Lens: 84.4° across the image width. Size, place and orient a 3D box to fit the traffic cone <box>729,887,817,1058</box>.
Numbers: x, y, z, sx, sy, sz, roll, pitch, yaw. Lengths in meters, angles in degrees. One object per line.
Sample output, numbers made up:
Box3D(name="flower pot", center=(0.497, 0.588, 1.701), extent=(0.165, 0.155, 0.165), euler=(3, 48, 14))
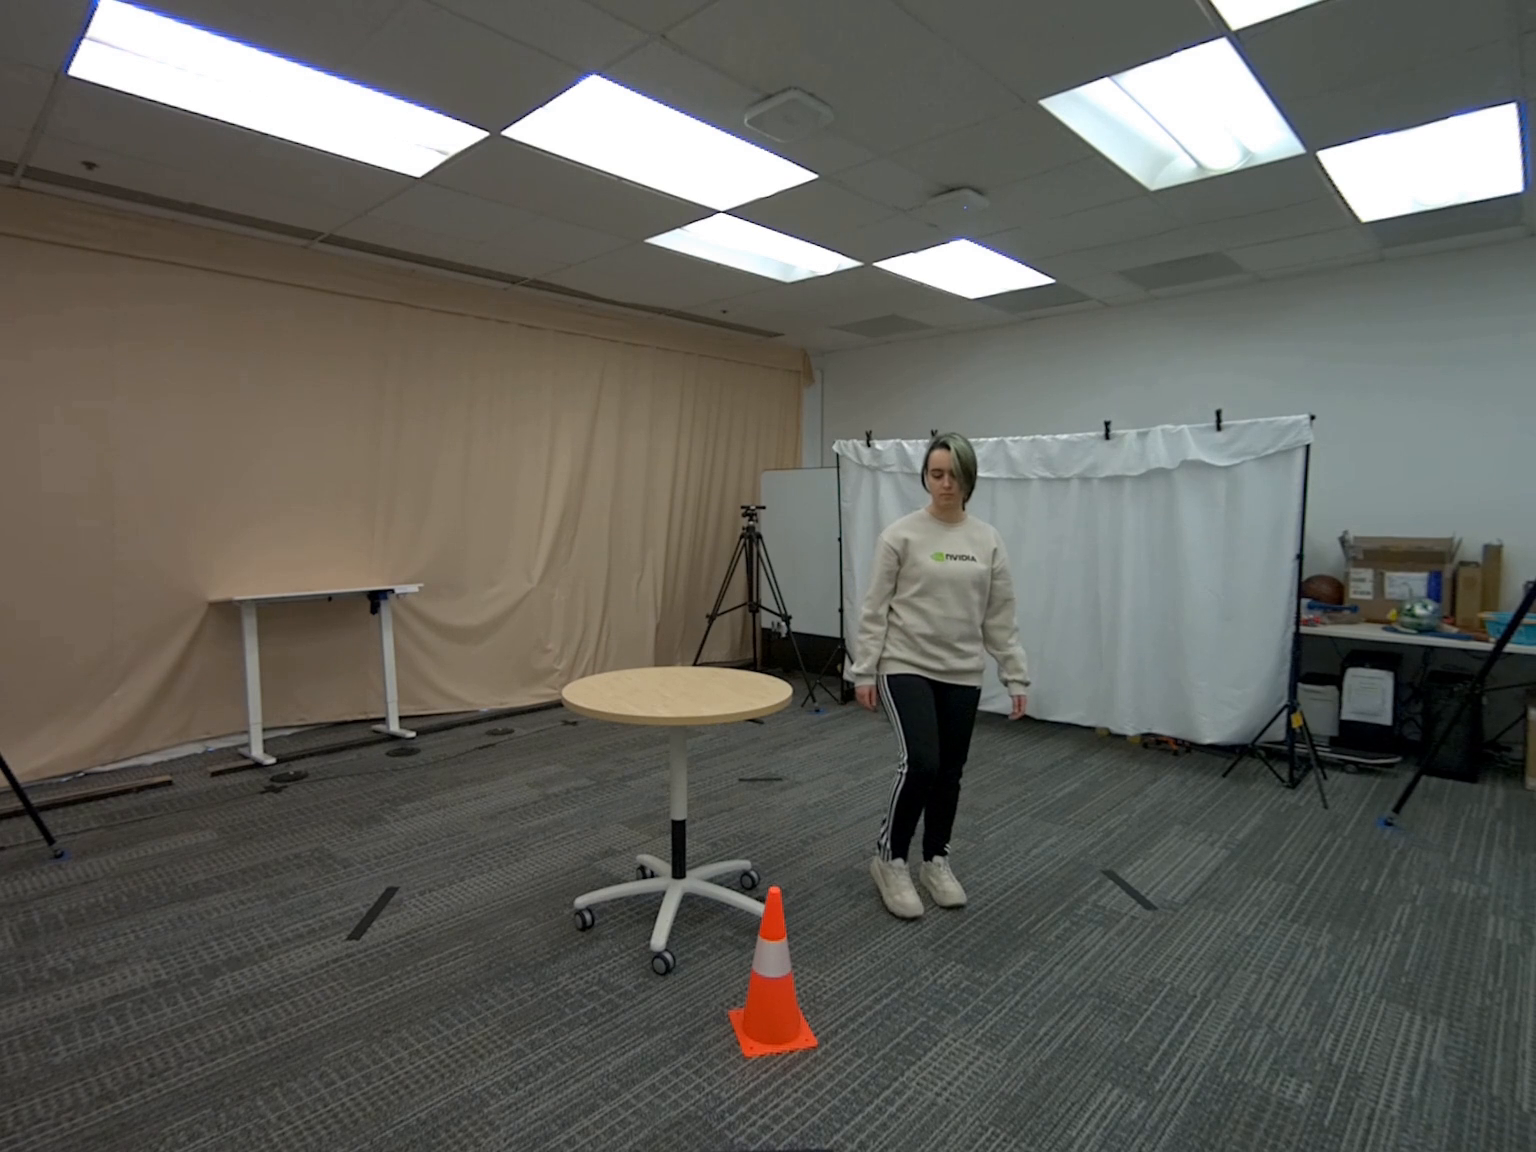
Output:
Box3D(name="traffic cone", center=(0.017, 1.025, 2.223), extent=(0.200, 0.383, 0.208), euler=(-1, 4, -14))
